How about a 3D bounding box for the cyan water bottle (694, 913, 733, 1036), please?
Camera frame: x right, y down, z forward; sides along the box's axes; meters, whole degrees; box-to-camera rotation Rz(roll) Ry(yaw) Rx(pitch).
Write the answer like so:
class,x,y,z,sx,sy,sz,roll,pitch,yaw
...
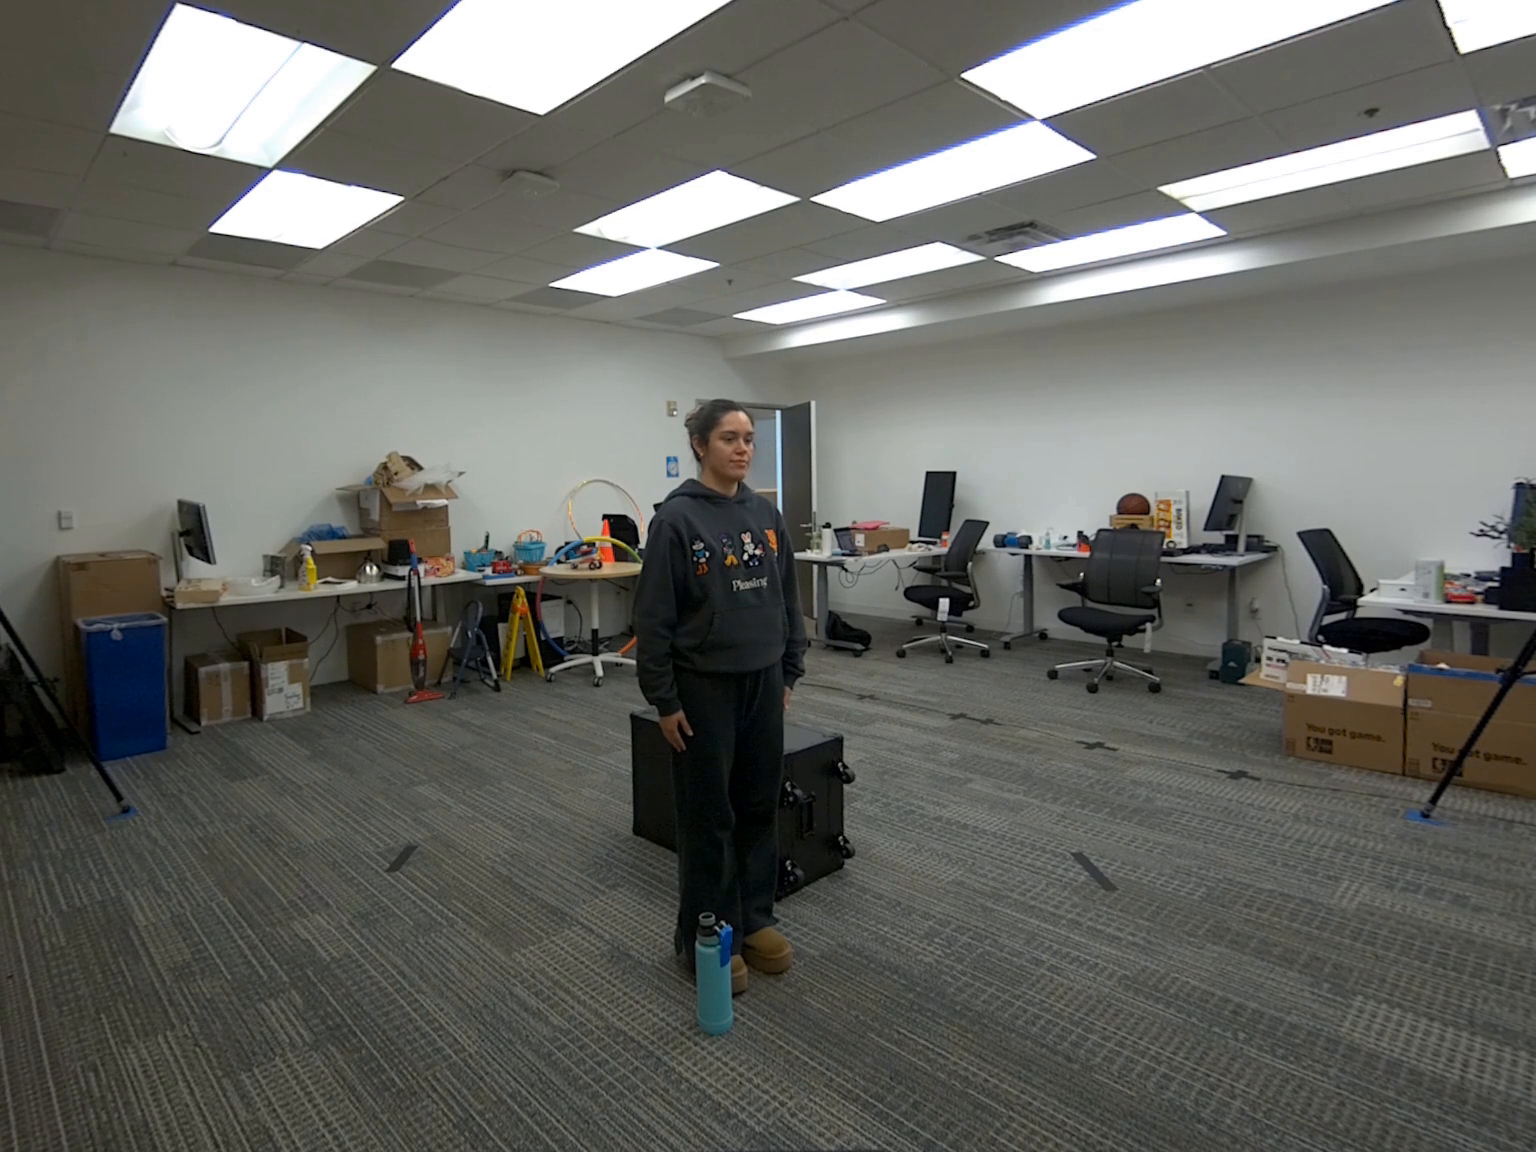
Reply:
class,x,y,z,sx,sy,sz,roll,pitch,yaw
cyan water bottle,-0.135,1.017,2.173,0.092,0.282,0.093,-2,5,-1
